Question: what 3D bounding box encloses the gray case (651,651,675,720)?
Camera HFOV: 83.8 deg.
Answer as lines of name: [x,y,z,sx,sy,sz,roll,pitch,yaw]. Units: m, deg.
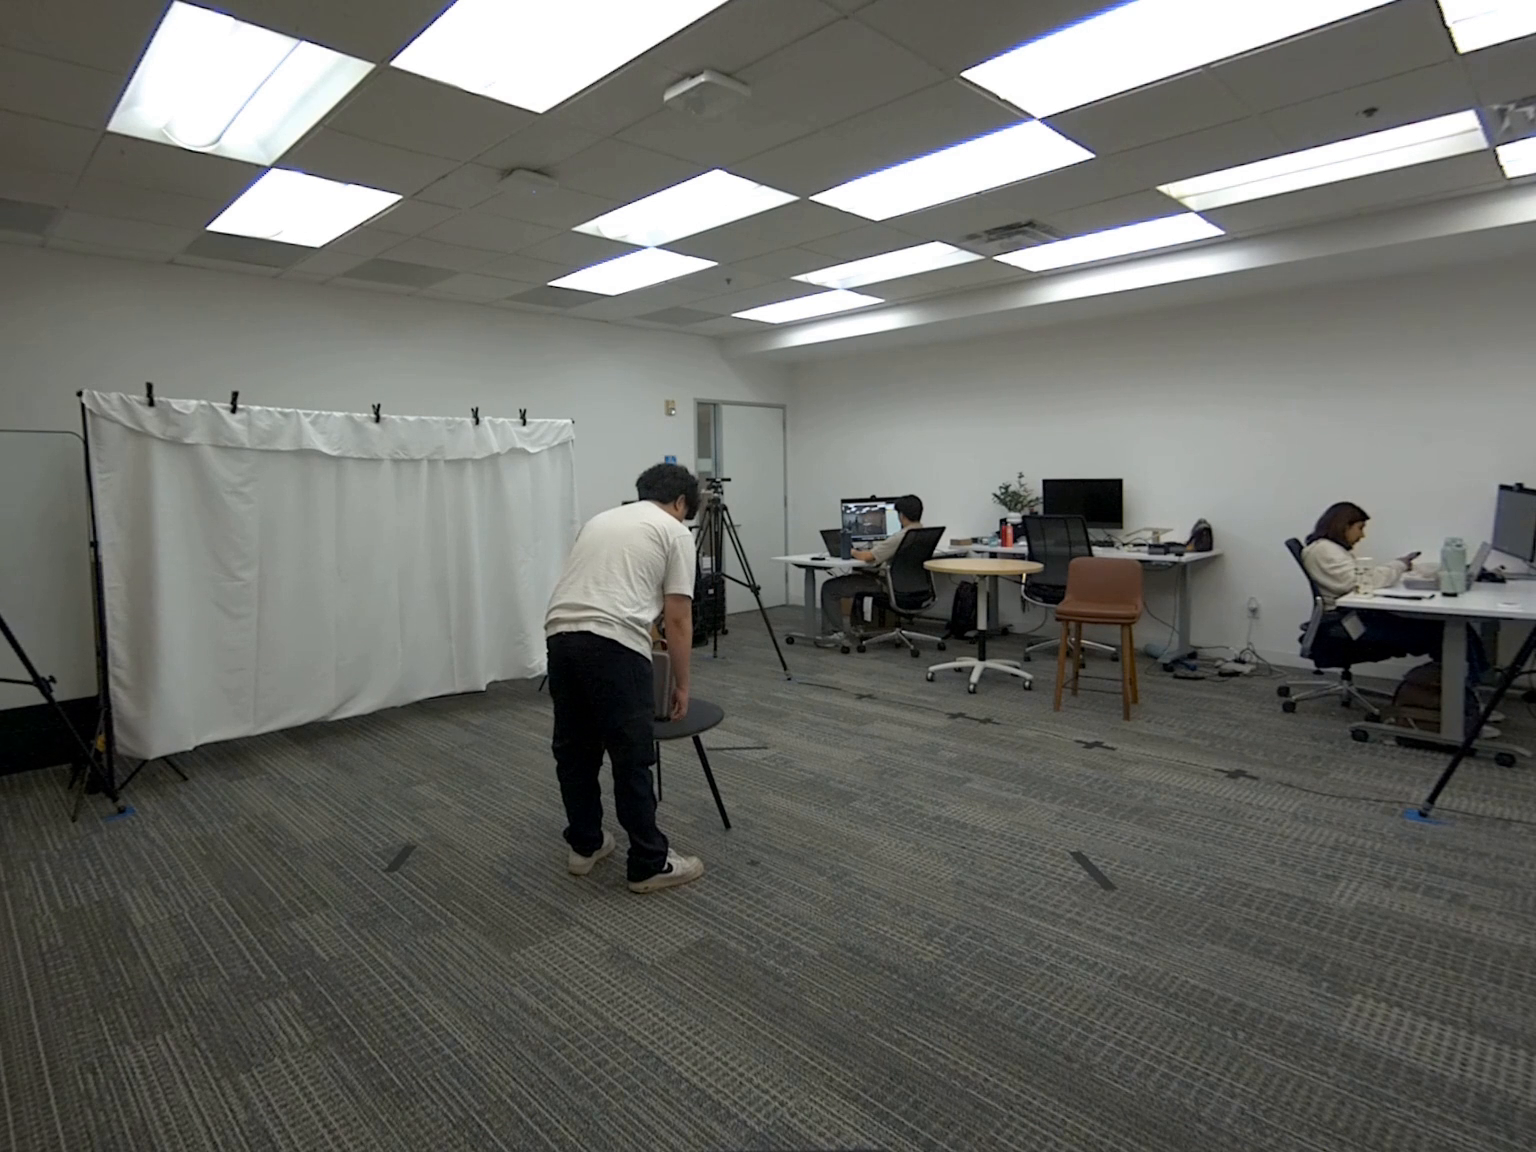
gray case: [-0.440,0.415,3.342,0.101,0.262,0.264,10,-8,-42]
